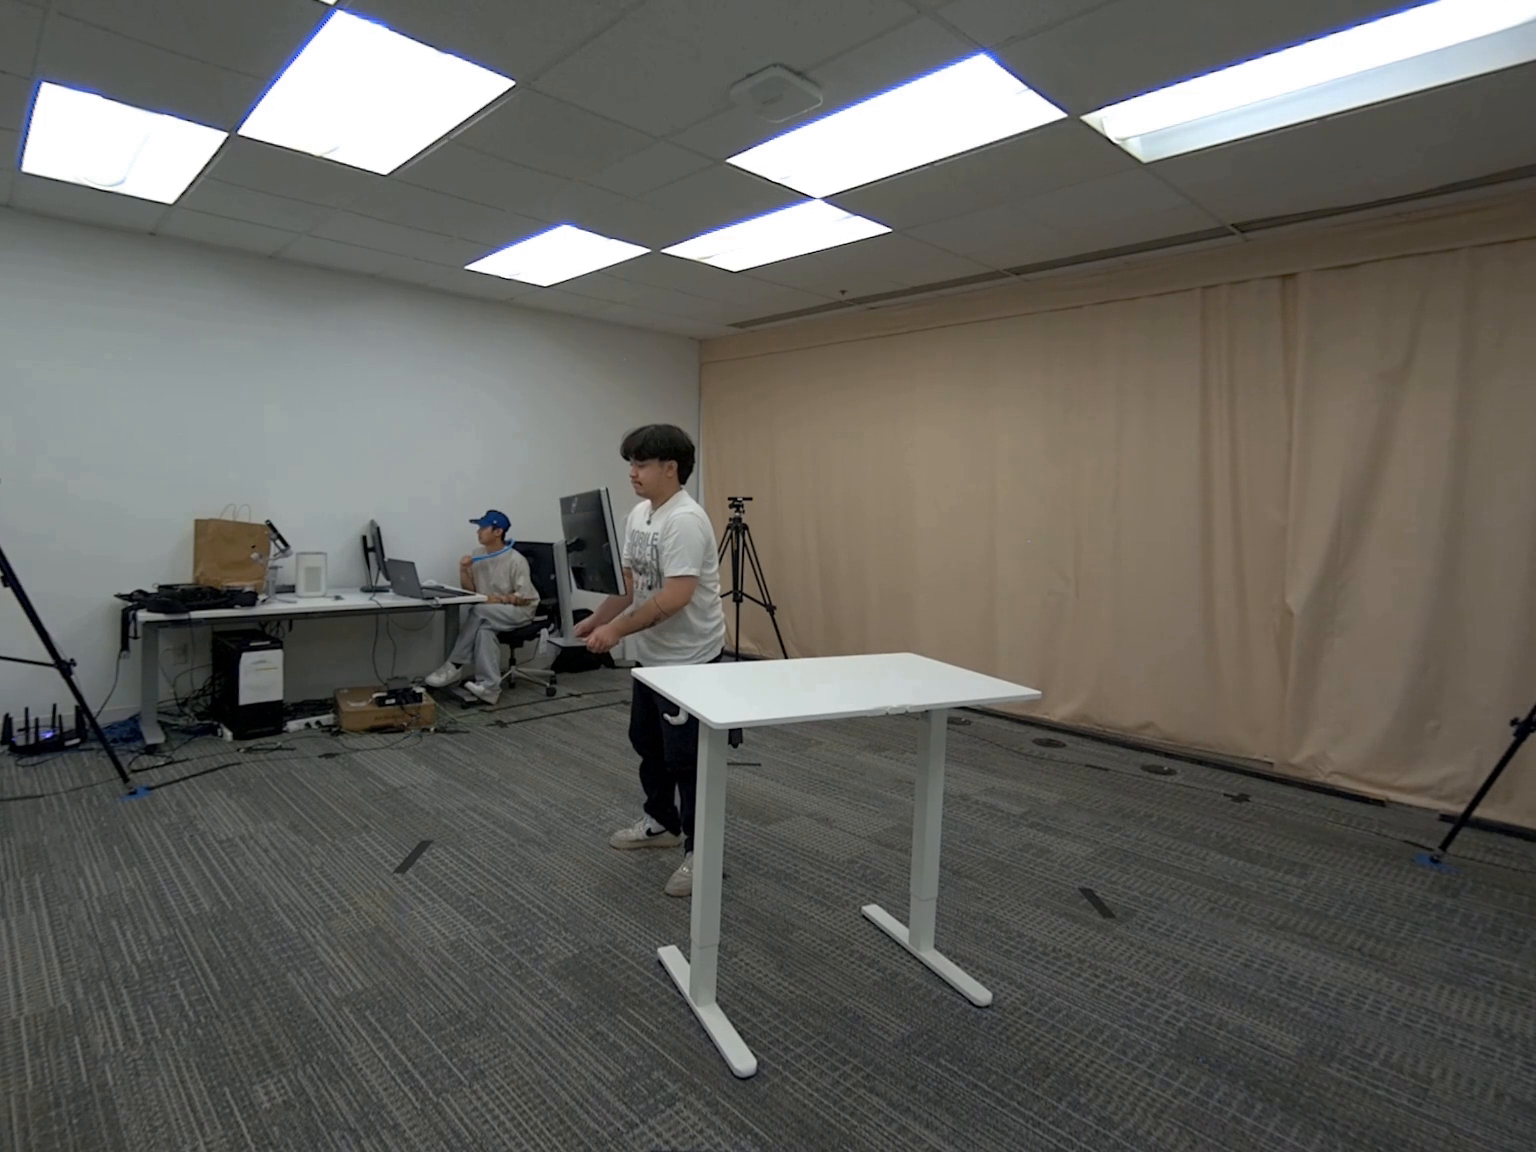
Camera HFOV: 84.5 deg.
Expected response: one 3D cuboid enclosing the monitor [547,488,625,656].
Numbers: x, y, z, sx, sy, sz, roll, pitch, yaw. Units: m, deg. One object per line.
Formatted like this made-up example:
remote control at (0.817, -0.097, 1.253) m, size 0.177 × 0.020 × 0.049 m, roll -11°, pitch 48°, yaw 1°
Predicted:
monitor at (-0.687, -0.021, 2.993) m, size 0.206 × 0.553 × 0.576 m, roll -5°, pitch 4°, yaw -26°
